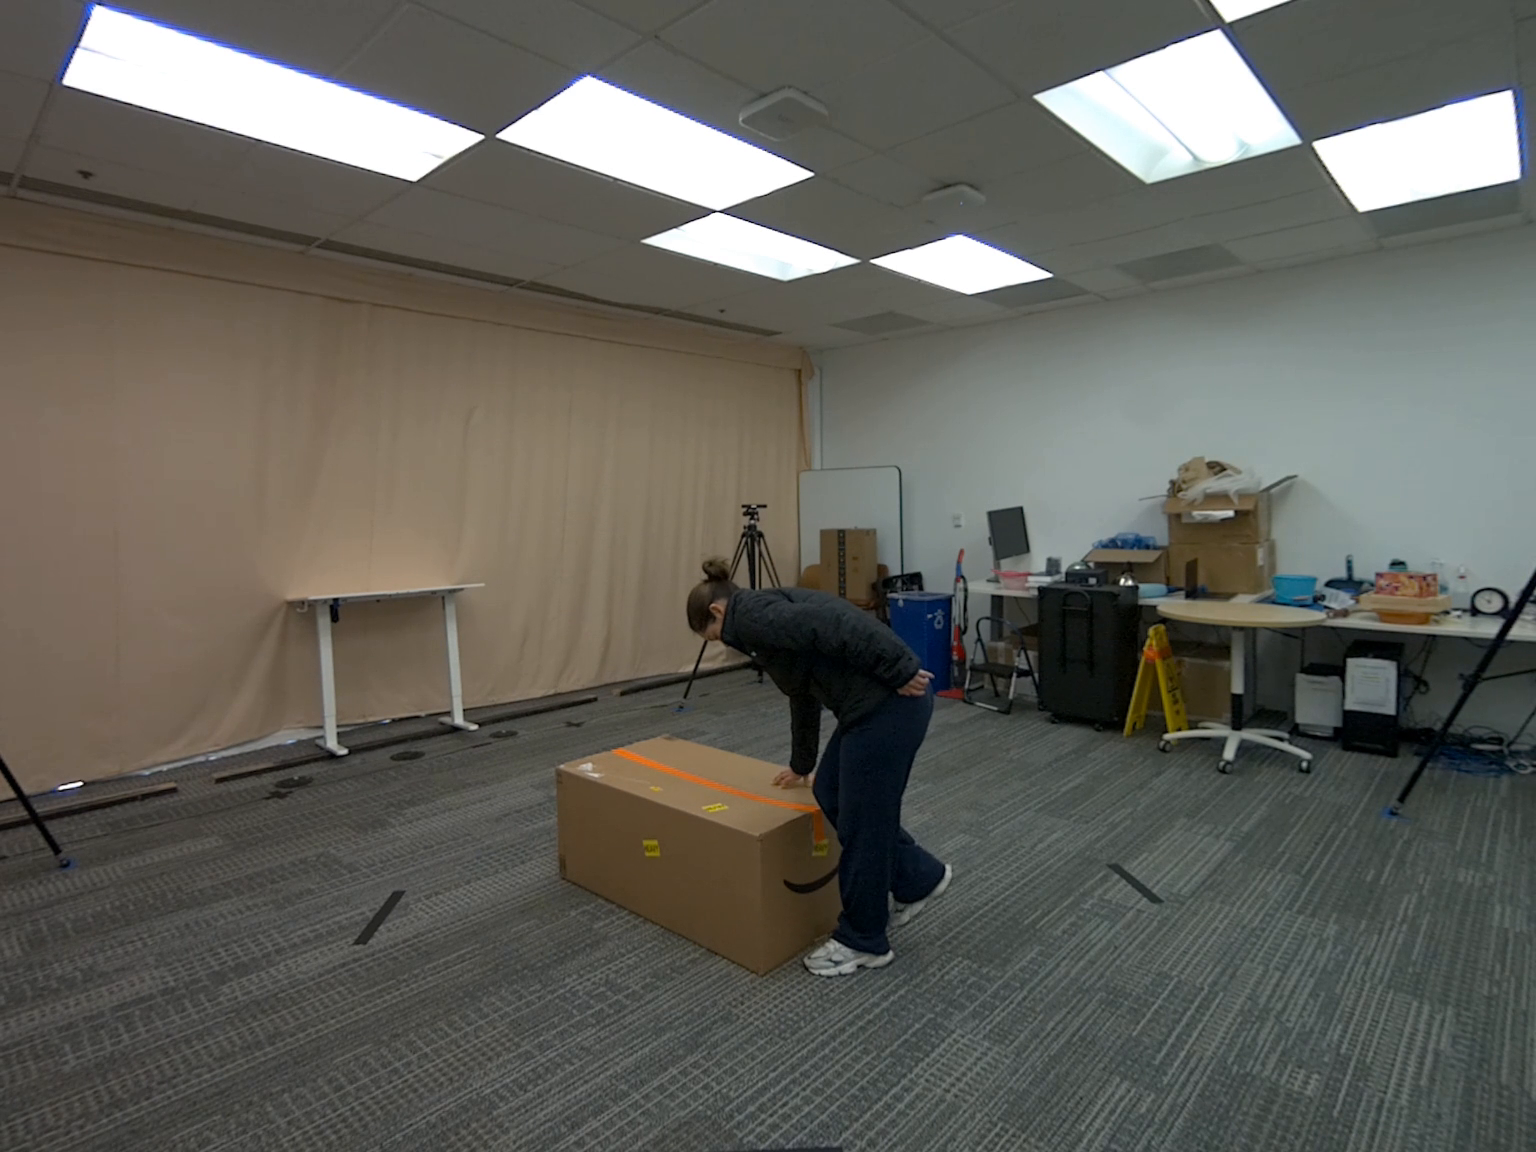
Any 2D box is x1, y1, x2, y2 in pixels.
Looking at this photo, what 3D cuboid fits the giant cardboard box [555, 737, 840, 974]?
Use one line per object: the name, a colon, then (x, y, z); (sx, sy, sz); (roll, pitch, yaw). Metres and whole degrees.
giant cardboard box: (-0.211, 0.932, 3.033); (1.061, 0.446, 0.566); (2, 4, 42)
